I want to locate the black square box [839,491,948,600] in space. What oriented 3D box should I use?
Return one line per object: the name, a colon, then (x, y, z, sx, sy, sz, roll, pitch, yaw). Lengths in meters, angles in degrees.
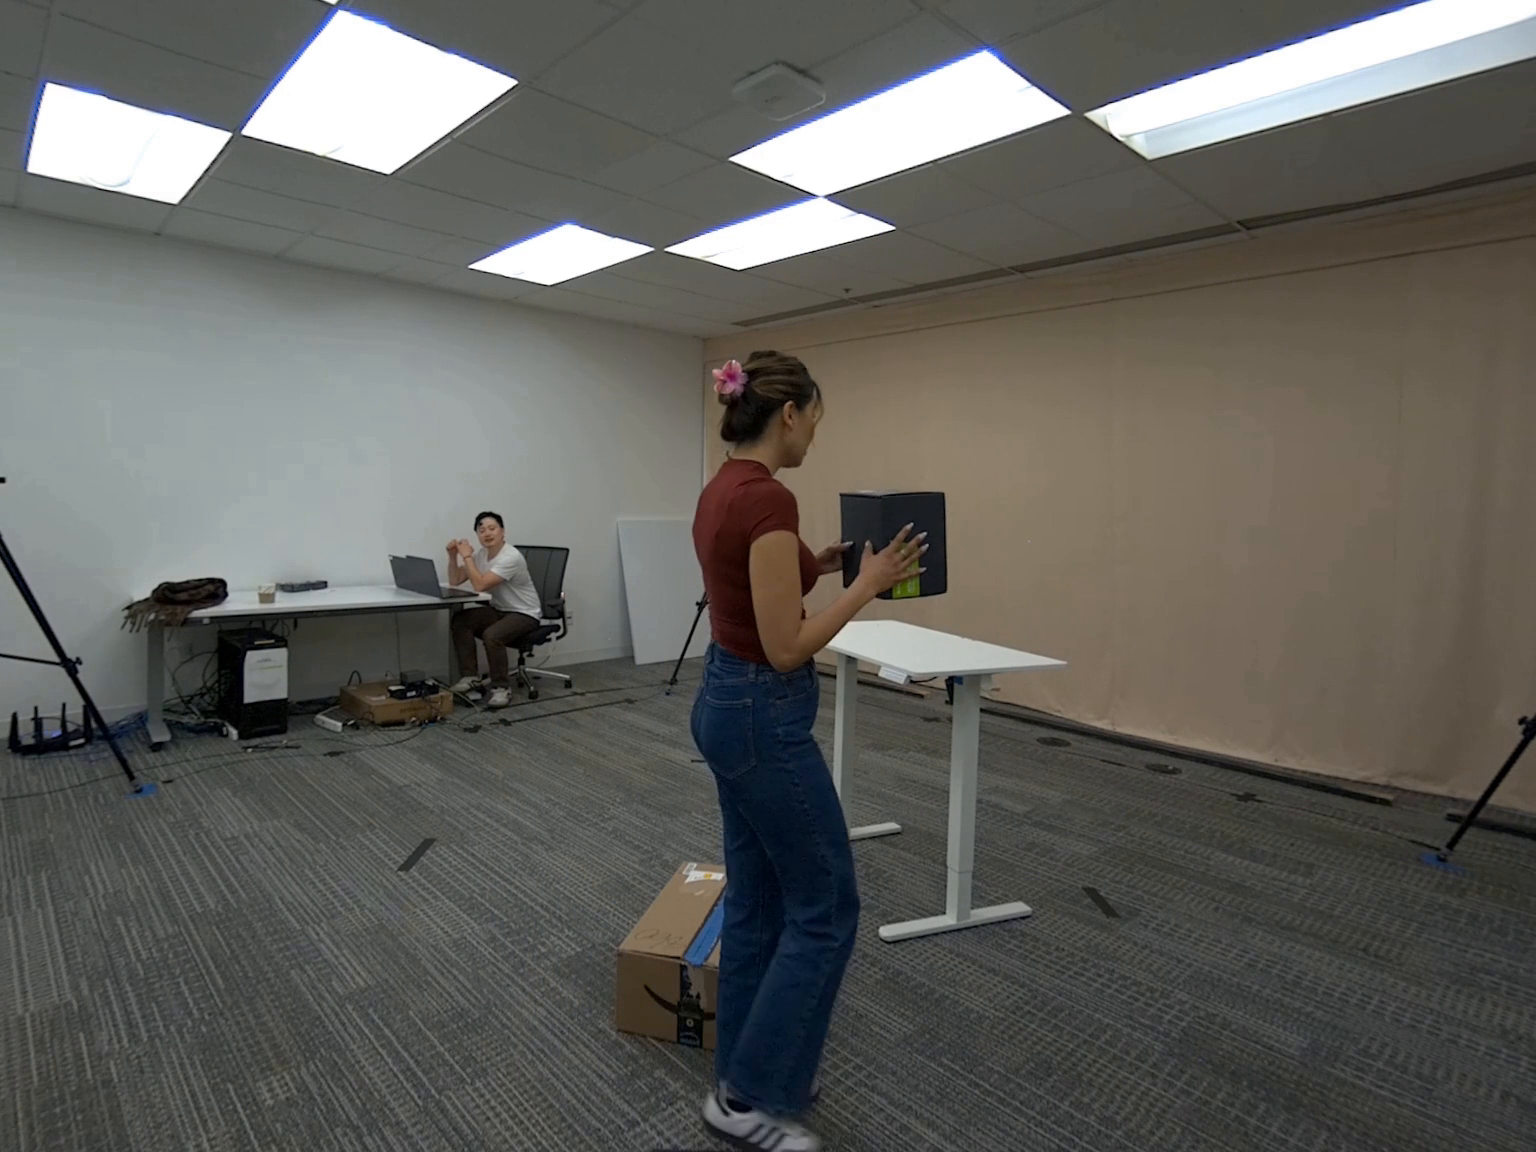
black square box: (0.267, -0.080, 1.906, 0.154, 0.227, 0.221, -4, 7, -20)
